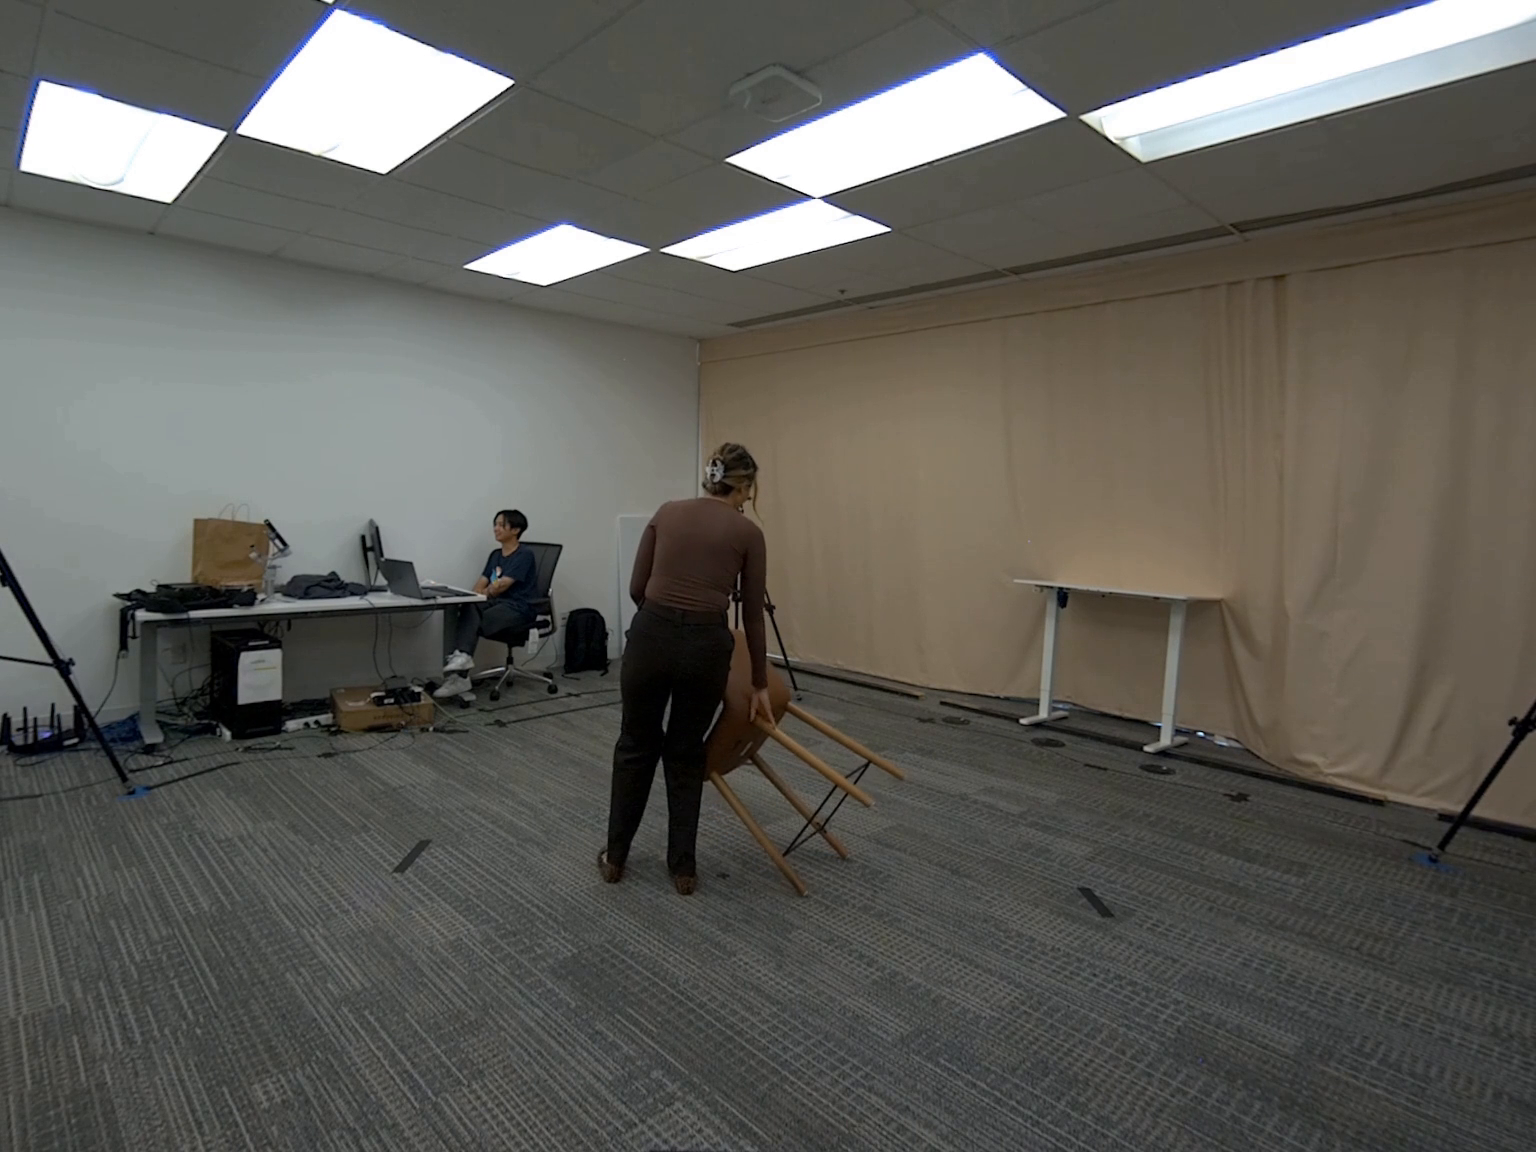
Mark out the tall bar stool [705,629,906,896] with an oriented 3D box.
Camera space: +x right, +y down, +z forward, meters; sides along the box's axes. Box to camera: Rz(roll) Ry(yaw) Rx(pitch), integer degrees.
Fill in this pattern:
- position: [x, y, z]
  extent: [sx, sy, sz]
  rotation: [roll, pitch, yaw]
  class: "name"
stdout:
- position: [0.011, 0.670, 3.229]
  extent: [0.911, 0.466, 0.447]
  rotation: [41, 20, 22]
  class: "tall bar stool"
